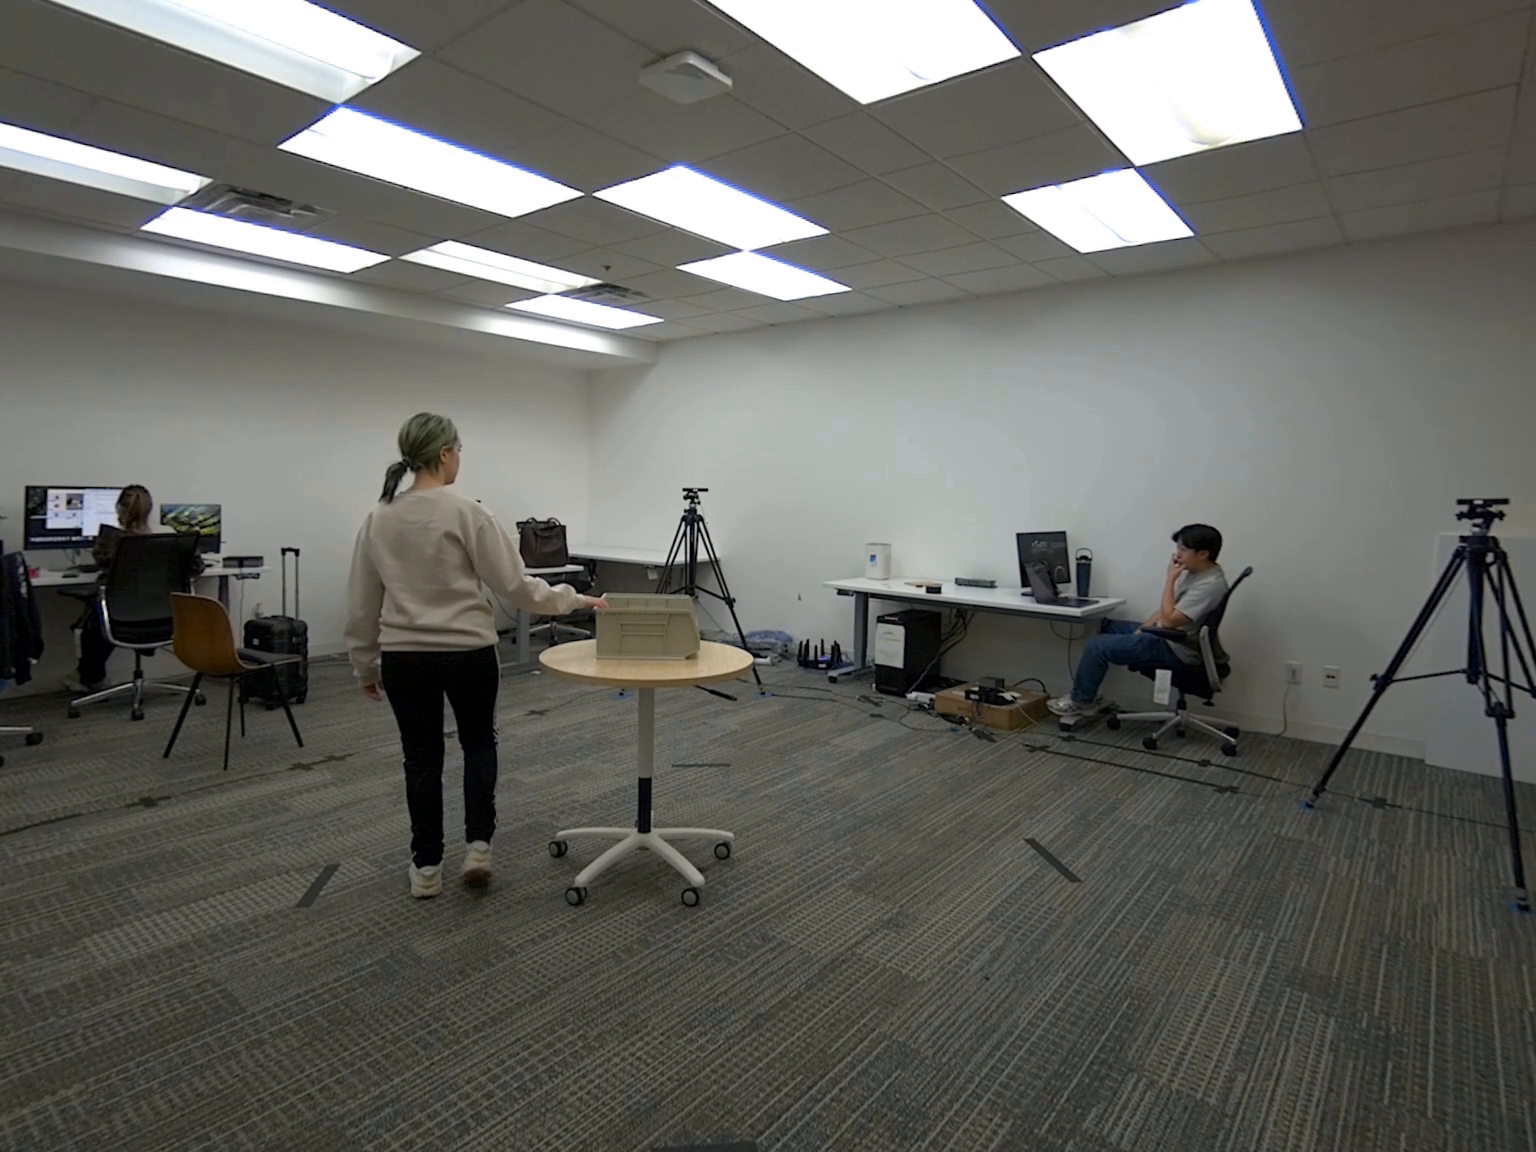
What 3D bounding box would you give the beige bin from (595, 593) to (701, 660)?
[{"bbox_3d":[-0.459,0.181,3.190,0.377,0.188,0.425,-1,6,-3],"label":"beige bin"}]
